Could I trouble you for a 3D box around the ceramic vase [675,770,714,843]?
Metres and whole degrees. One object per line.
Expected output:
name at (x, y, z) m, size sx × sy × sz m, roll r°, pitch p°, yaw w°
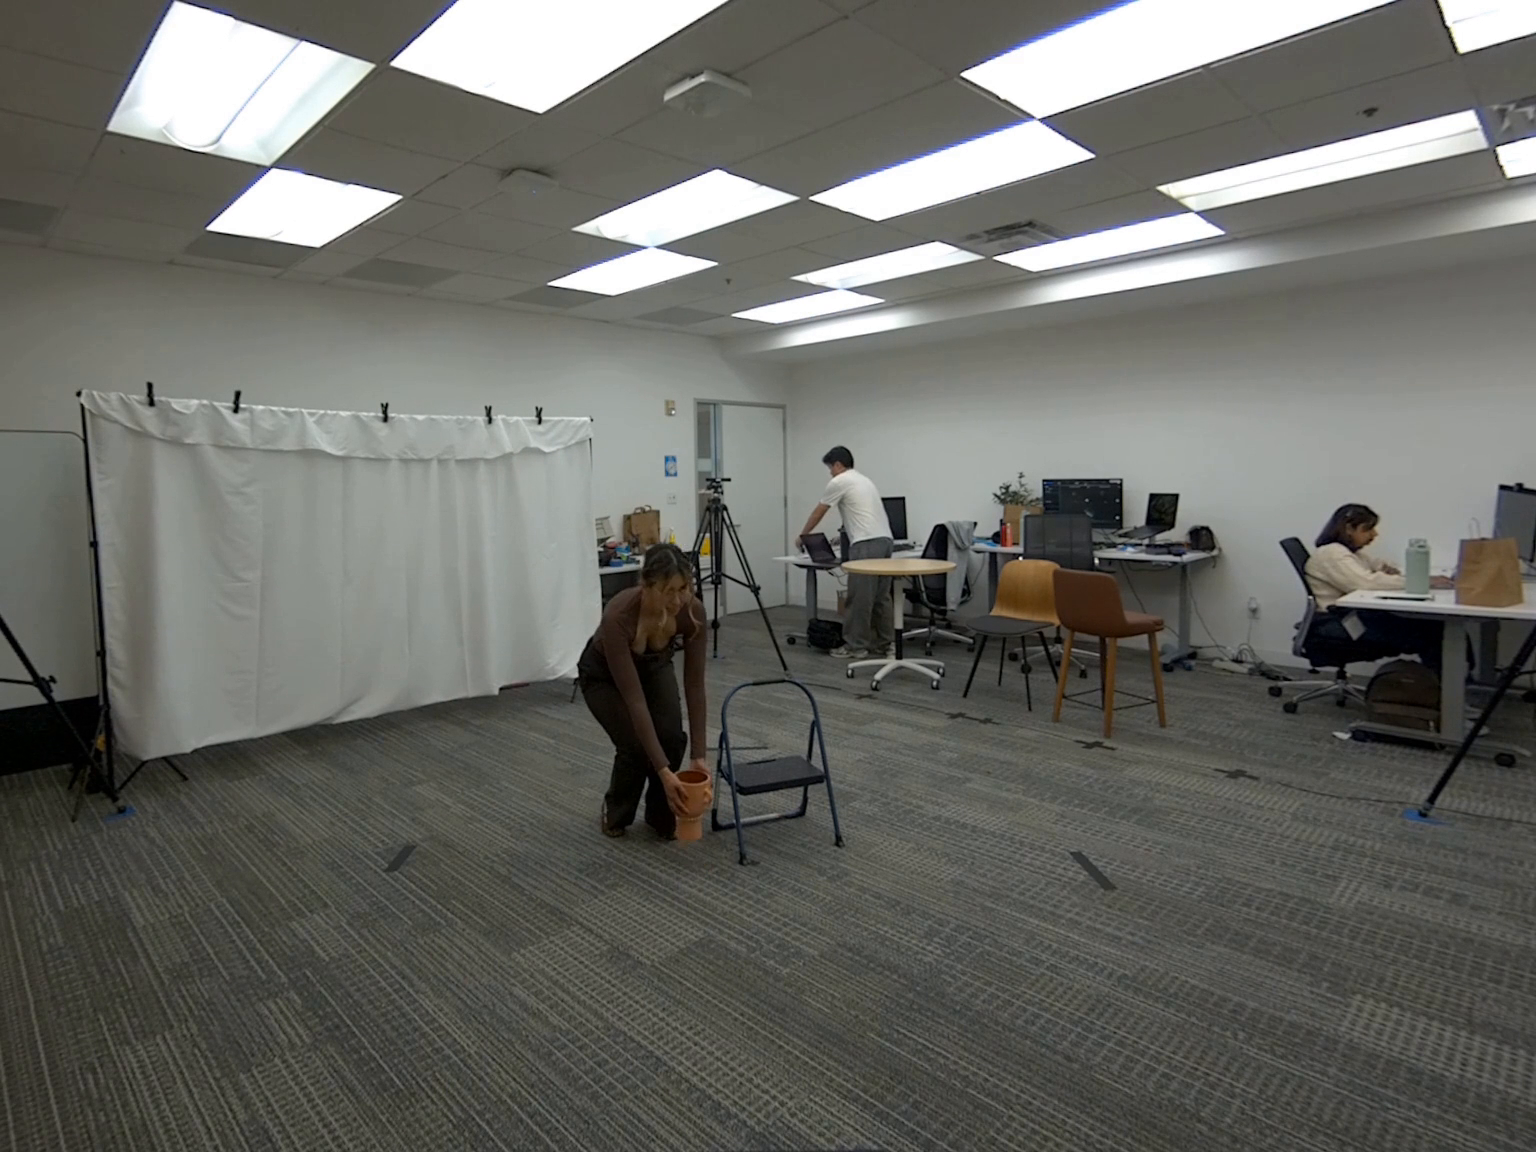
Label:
ceramic vase at (-0.273, 0.813, 3.052) m, size 0.133 × 0.218 × 0.162 m, roll -1°, pitch 7°, yaw -16°
